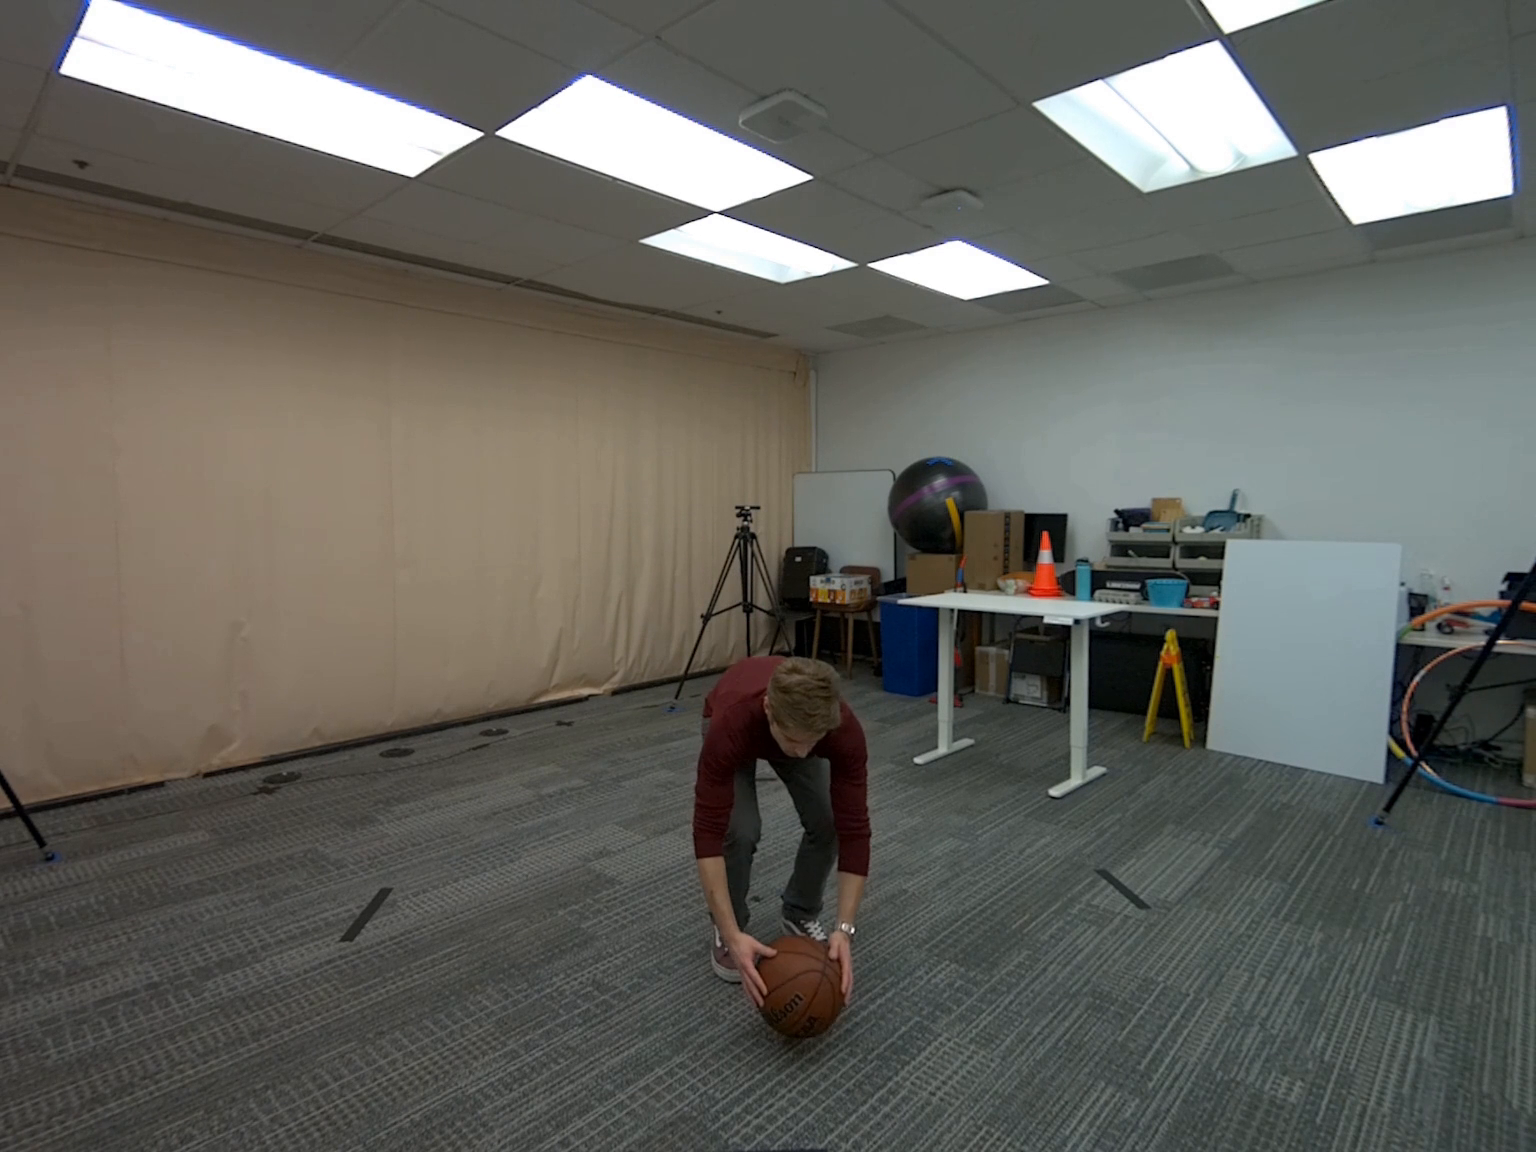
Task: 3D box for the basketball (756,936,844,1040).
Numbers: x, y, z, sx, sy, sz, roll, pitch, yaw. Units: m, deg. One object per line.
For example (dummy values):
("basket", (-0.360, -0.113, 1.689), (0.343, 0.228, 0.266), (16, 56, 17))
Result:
("basketball", (0.082, 1.053, 2.167), (0.236, 0.235, 0.237), (0, 4, -2))
